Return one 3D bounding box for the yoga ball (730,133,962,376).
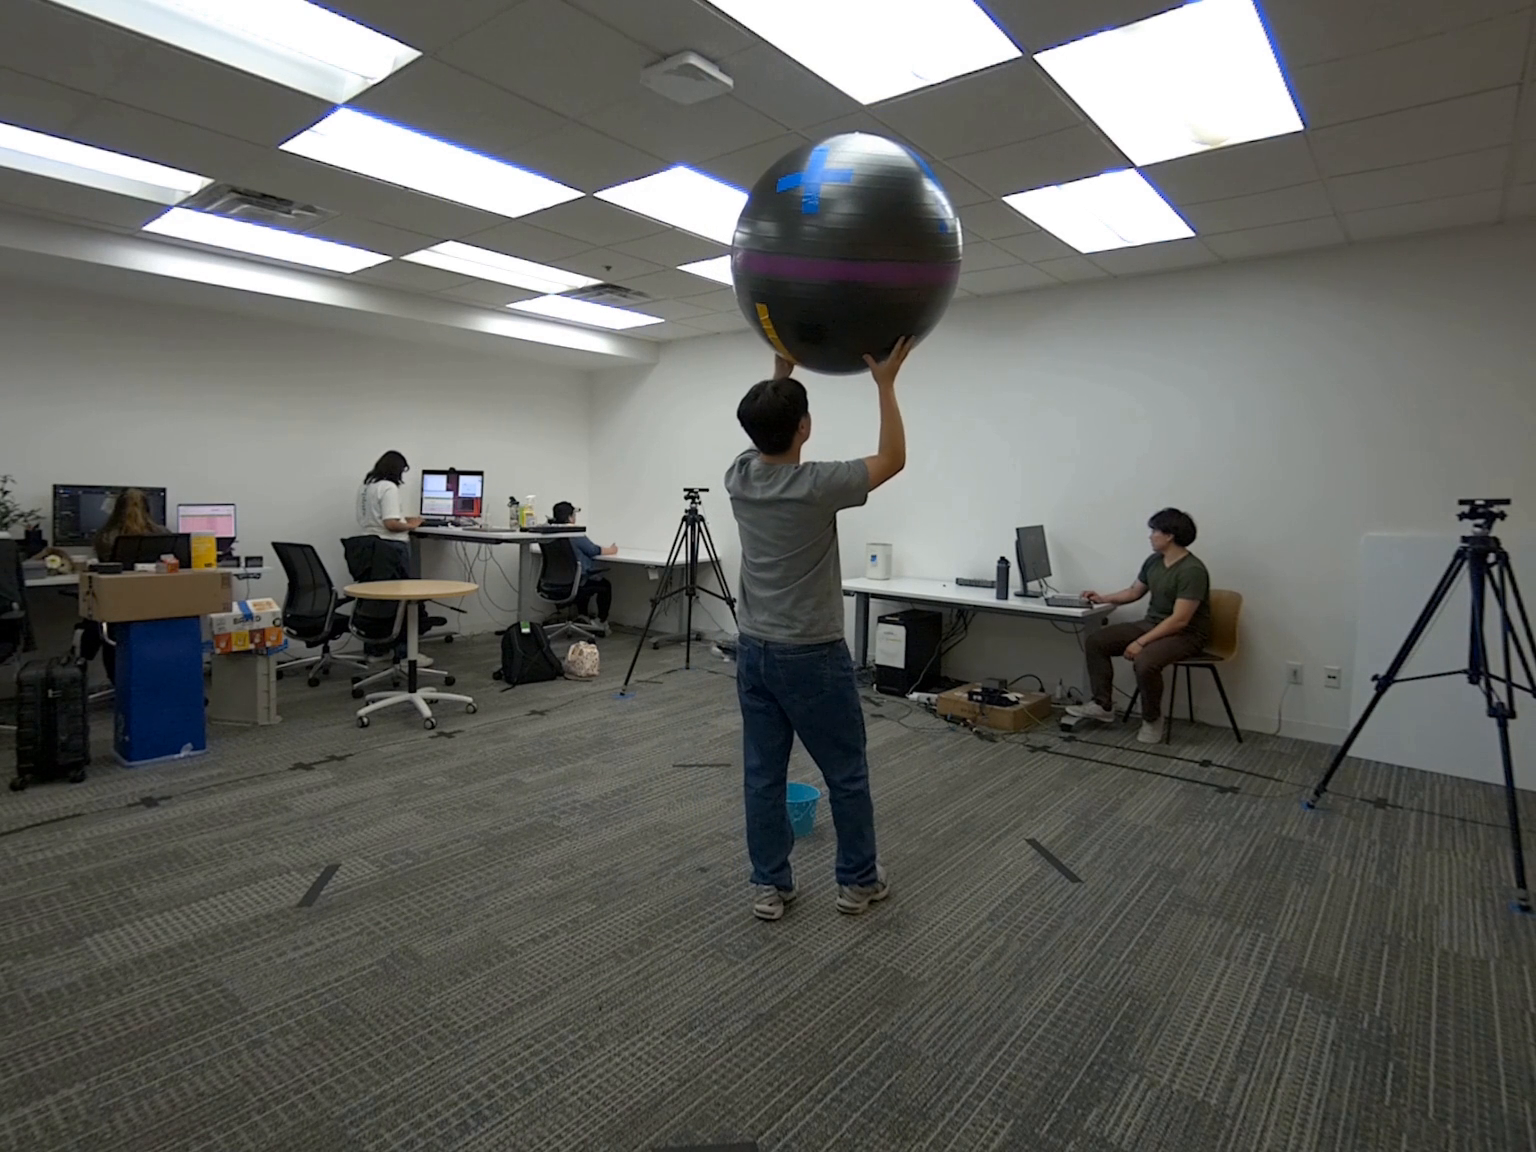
[{"bbox_3d":[0.251,-1.061,2.829,0.757,0.756,0.761,1,4,-2],"label":"yoga ball"}]
